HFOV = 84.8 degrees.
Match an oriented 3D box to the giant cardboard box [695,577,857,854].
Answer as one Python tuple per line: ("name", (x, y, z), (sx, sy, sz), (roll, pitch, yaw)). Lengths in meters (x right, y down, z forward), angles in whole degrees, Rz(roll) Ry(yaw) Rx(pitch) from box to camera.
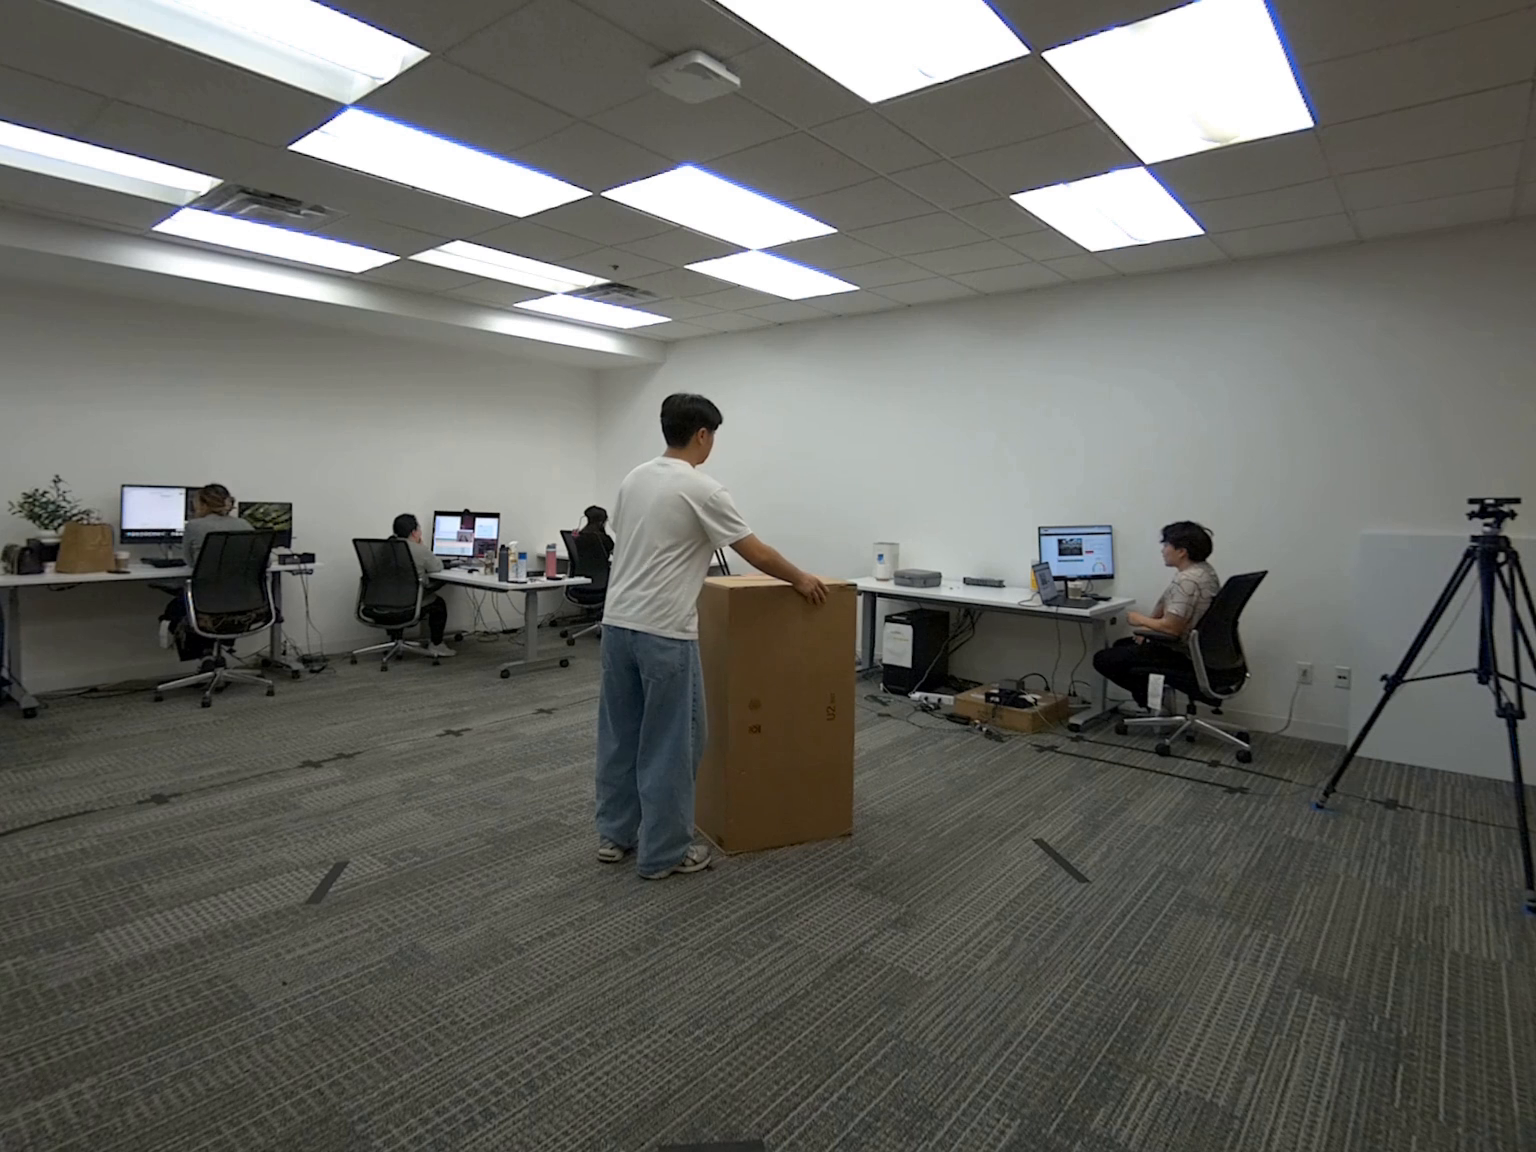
("giant cardboard box", (-0.008, 0.522, 3.502), (0.564, 1.023, 0.438), (-1, 4, -25))
